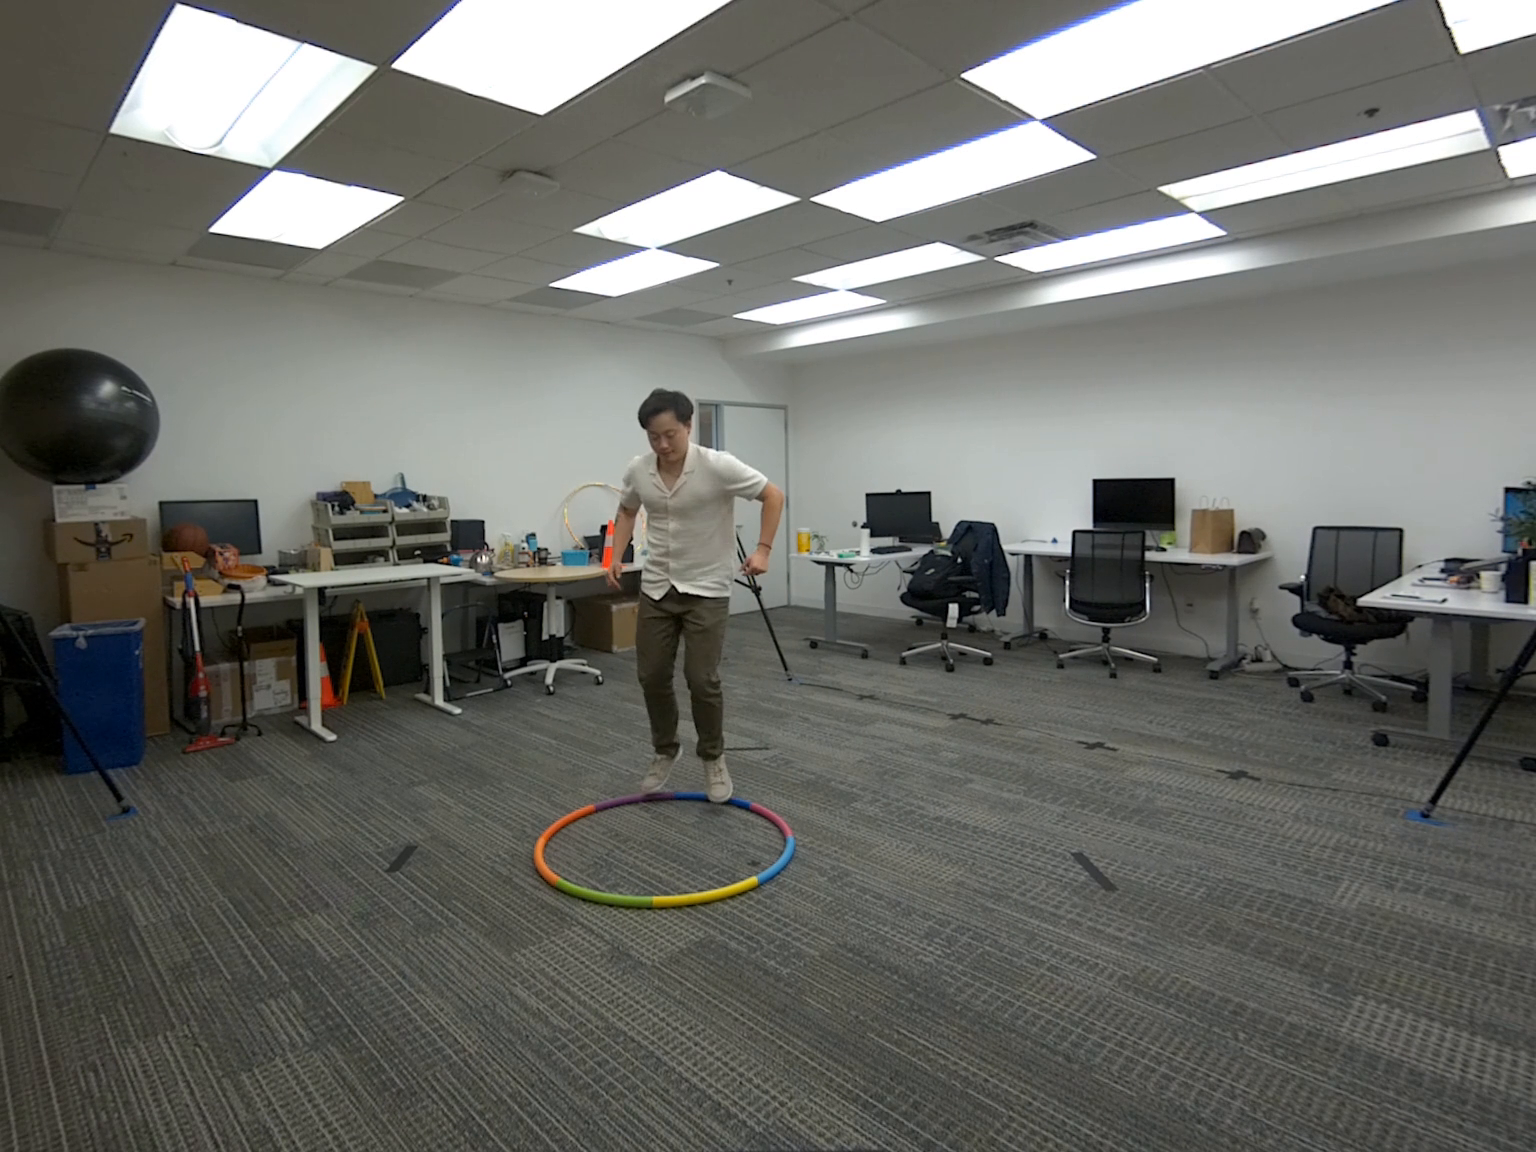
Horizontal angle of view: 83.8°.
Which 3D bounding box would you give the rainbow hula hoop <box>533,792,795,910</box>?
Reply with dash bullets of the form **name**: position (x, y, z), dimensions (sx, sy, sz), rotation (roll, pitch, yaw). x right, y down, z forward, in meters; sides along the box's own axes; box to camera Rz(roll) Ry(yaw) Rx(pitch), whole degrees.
- **rainbow hula hoop**: position (-0.387, 1.003, 3.273), dimensions (0.978, 0.035, 0.984), rotation (-1, 6, -2)
